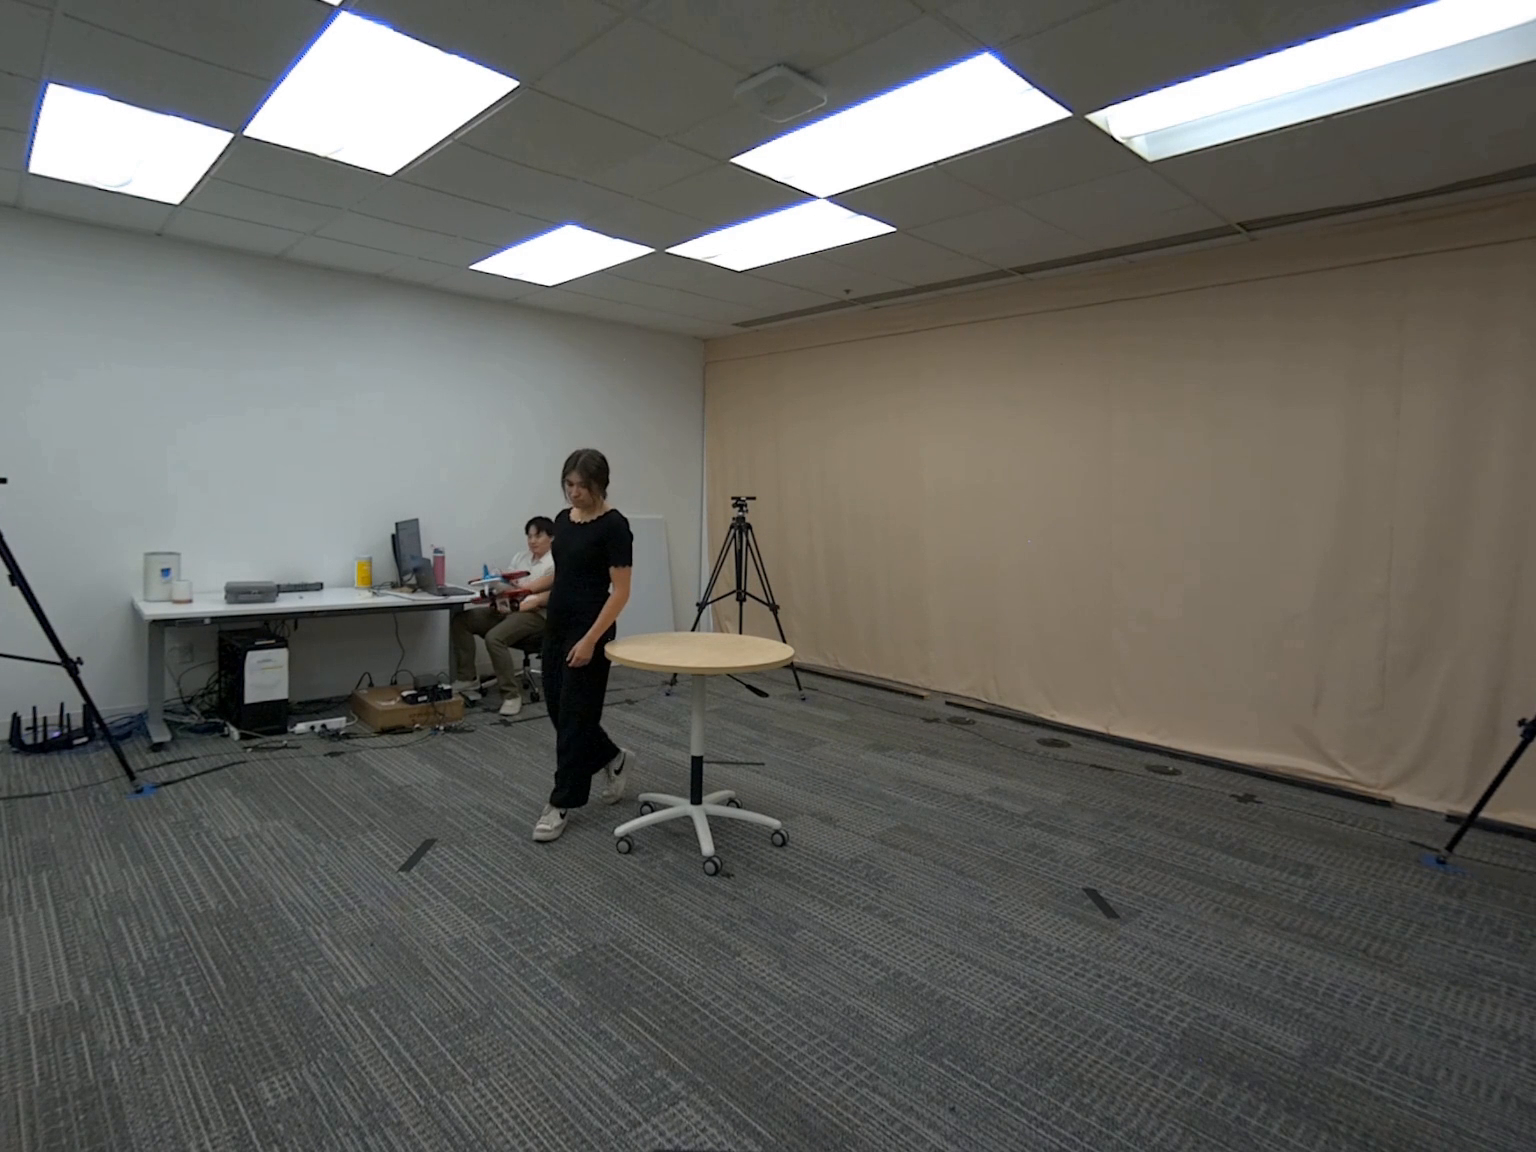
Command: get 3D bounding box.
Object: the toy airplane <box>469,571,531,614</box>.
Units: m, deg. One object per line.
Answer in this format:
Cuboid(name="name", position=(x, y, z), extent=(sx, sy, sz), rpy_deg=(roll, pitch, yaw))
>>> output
Cuboid(name="toy airplane", position=(-1.103, 0.047, 3.416), extent=(0.247, 0.159, 0.258), rpy_deg=(1, -27, -22))
